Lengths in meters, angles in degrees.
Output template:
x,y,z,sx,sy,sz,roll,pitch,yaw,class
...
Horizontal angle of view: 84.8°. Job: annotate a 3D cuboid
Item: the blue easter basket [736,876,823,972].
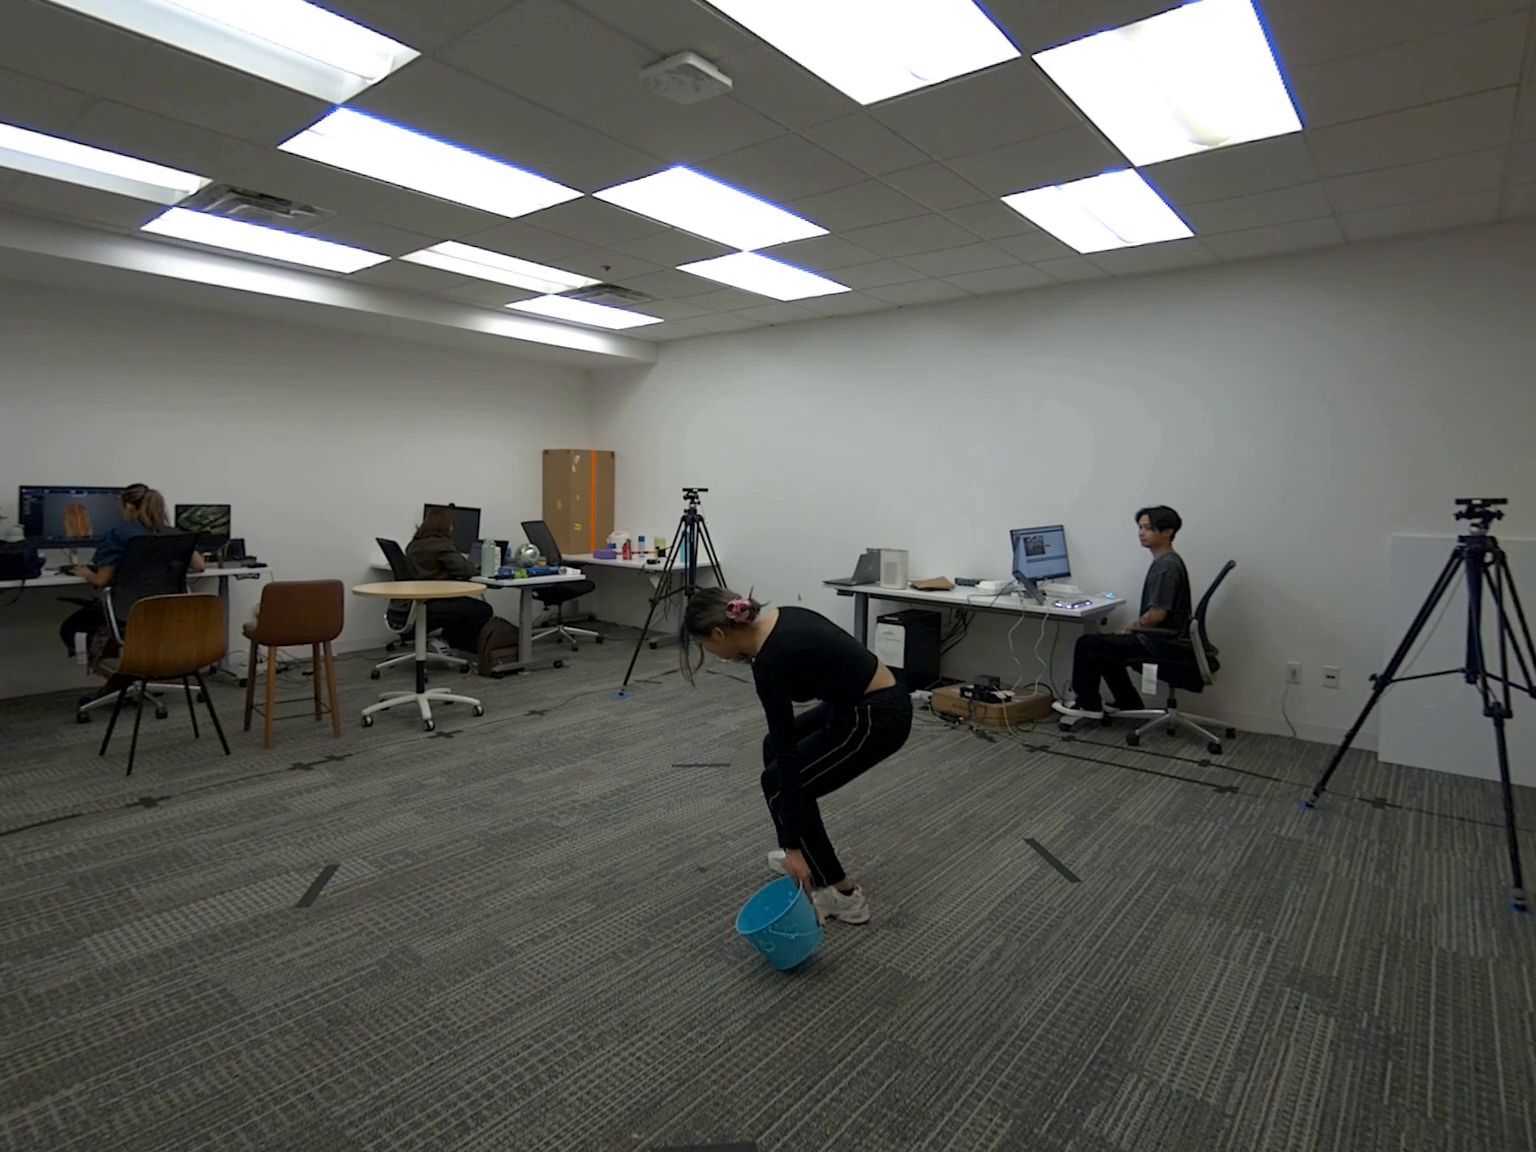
x,y,z,sx,sy,sz,roll,pitch,yaw,class
0.038,1.023,2.495,0.243,0.155,0.245,-34,6,1,blue easter basket
